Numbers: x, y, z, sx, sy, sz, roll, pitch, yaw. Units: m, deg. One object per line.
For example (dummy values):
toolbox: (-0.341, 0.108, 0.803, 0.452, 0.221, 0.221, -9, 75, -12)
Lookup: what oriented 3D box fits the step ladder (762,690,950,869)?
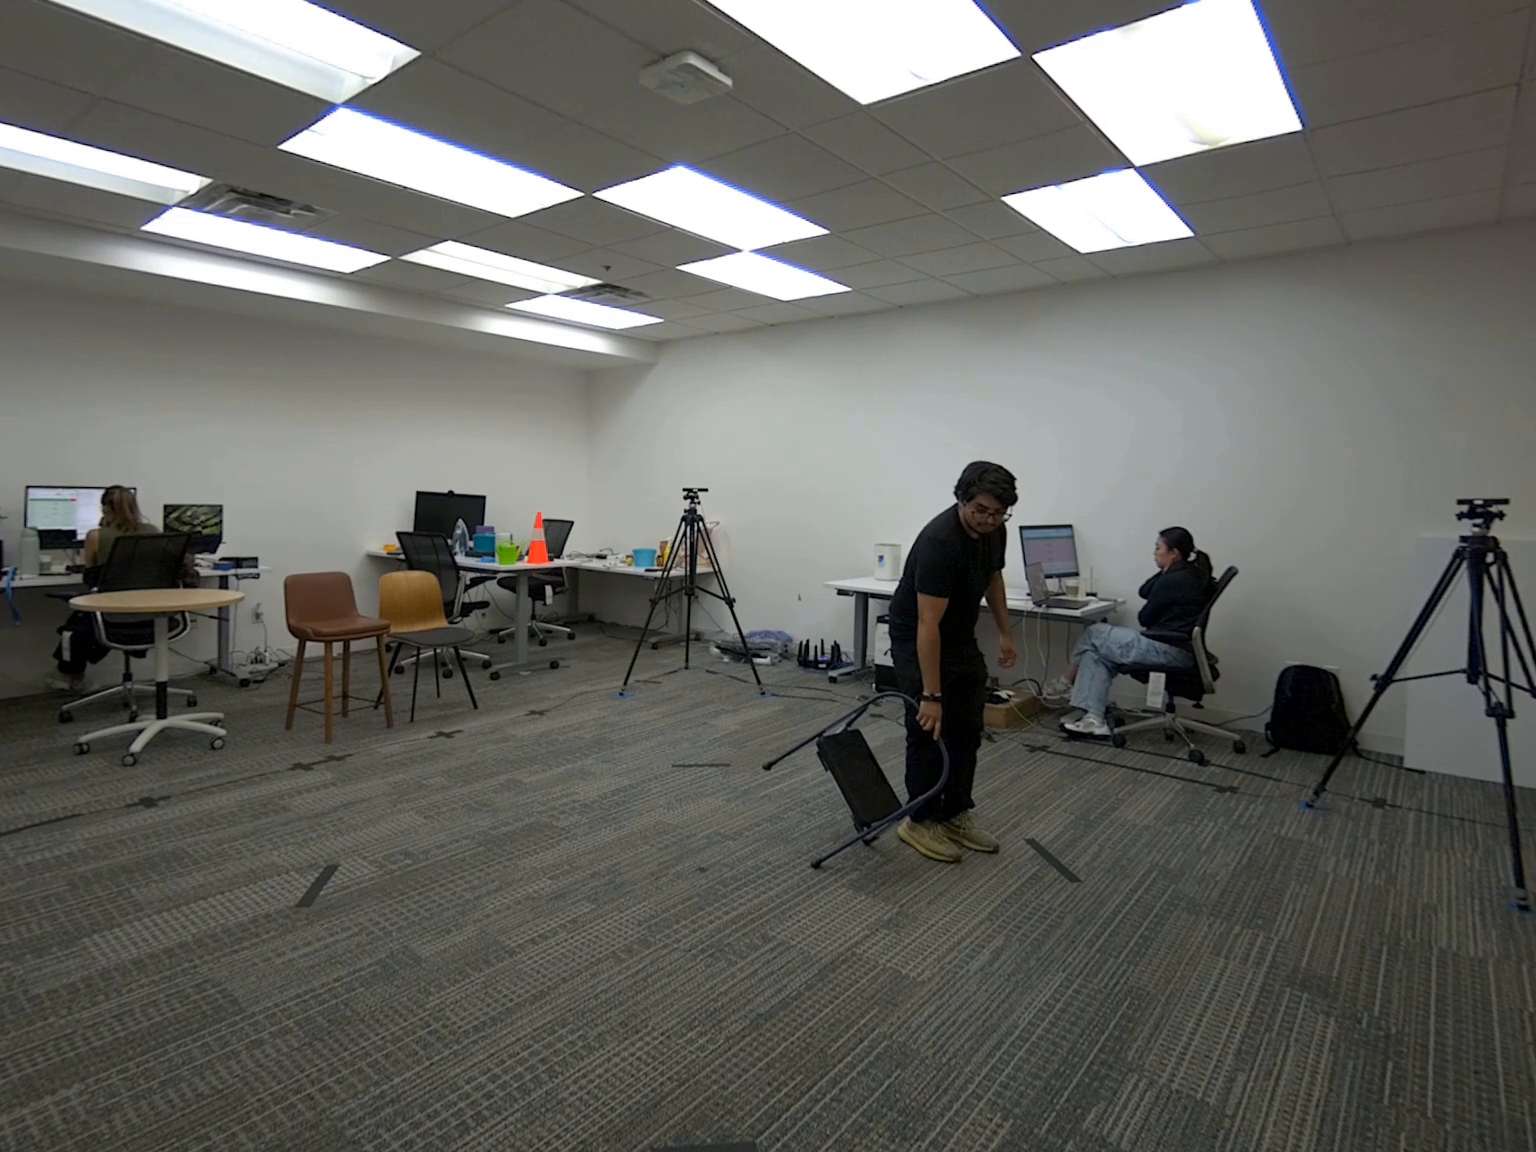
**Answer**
step ladder: (0.356, 0.719, 3.181, 0.338, 0.444, 0.606, -1, -36, -47)
